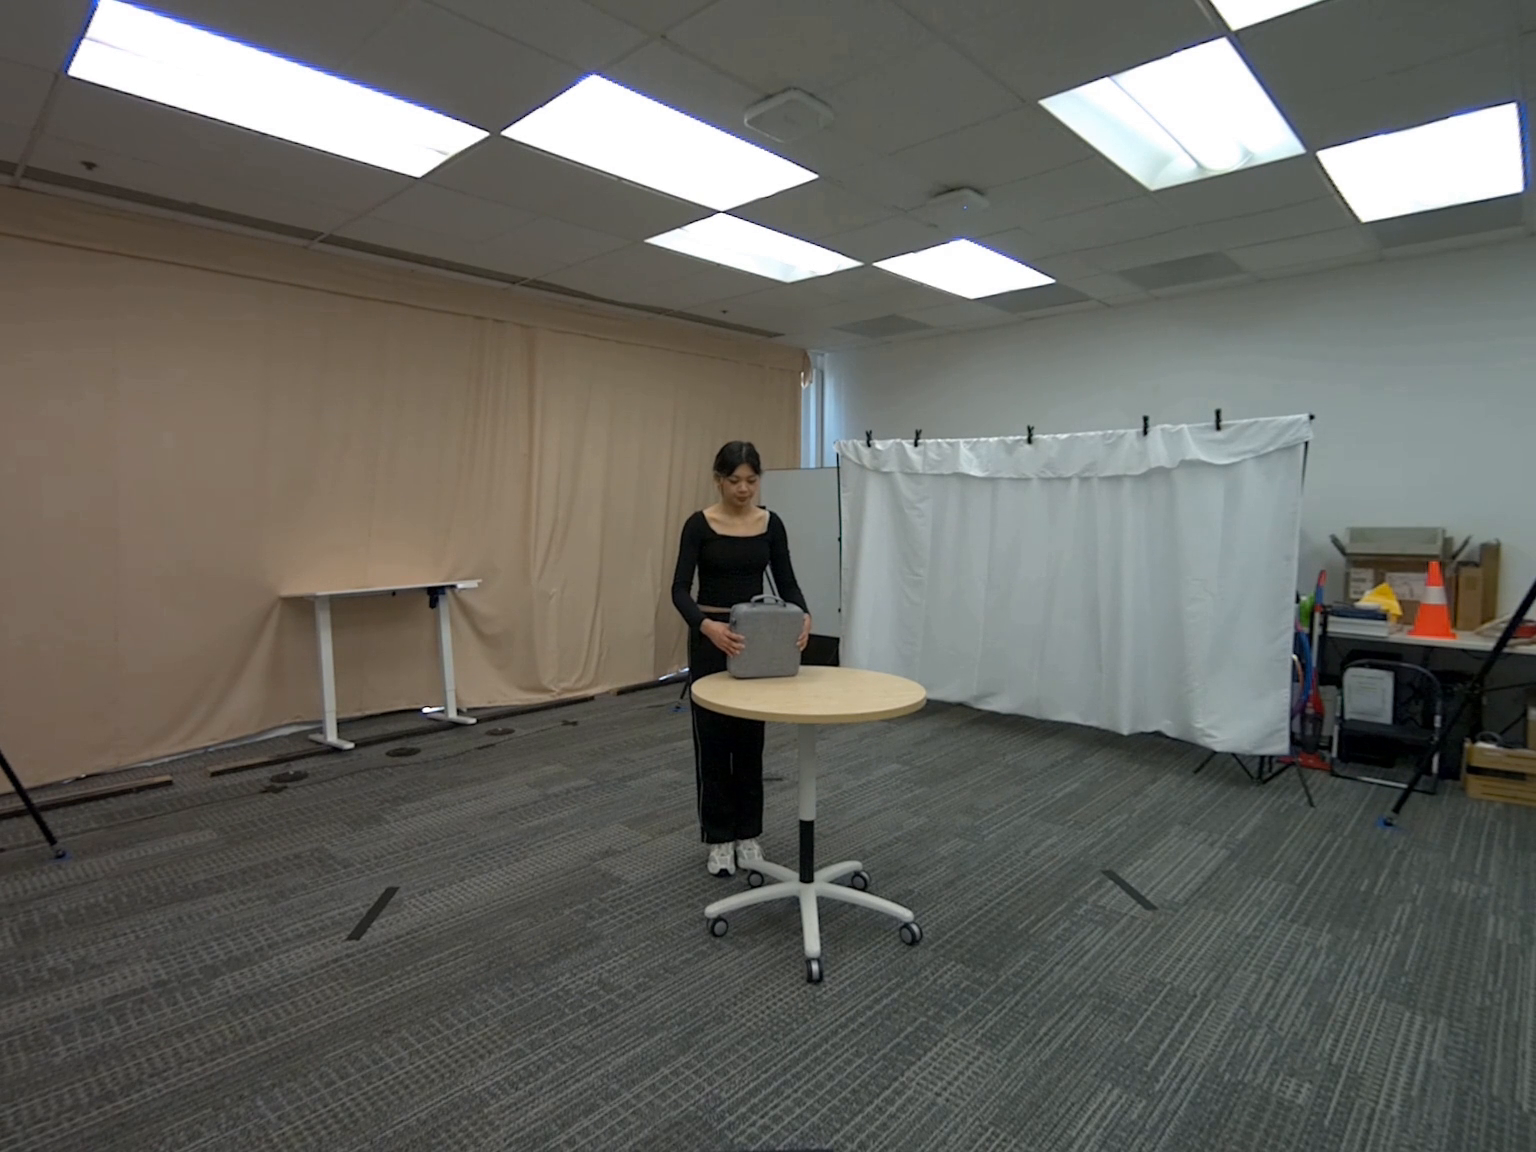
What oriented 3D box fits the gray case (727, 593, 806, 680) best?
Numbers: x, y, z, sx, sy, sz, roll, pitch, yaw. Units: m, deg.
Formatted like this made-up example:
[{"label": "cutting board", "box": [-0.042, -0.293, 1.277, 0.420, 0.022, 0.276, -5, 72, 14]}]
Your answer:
[{"label": "gray case", "box": [-0.003, 0.222, 2.950, 0.252, 0.259, 0.107, 1, 9, -19]}]
